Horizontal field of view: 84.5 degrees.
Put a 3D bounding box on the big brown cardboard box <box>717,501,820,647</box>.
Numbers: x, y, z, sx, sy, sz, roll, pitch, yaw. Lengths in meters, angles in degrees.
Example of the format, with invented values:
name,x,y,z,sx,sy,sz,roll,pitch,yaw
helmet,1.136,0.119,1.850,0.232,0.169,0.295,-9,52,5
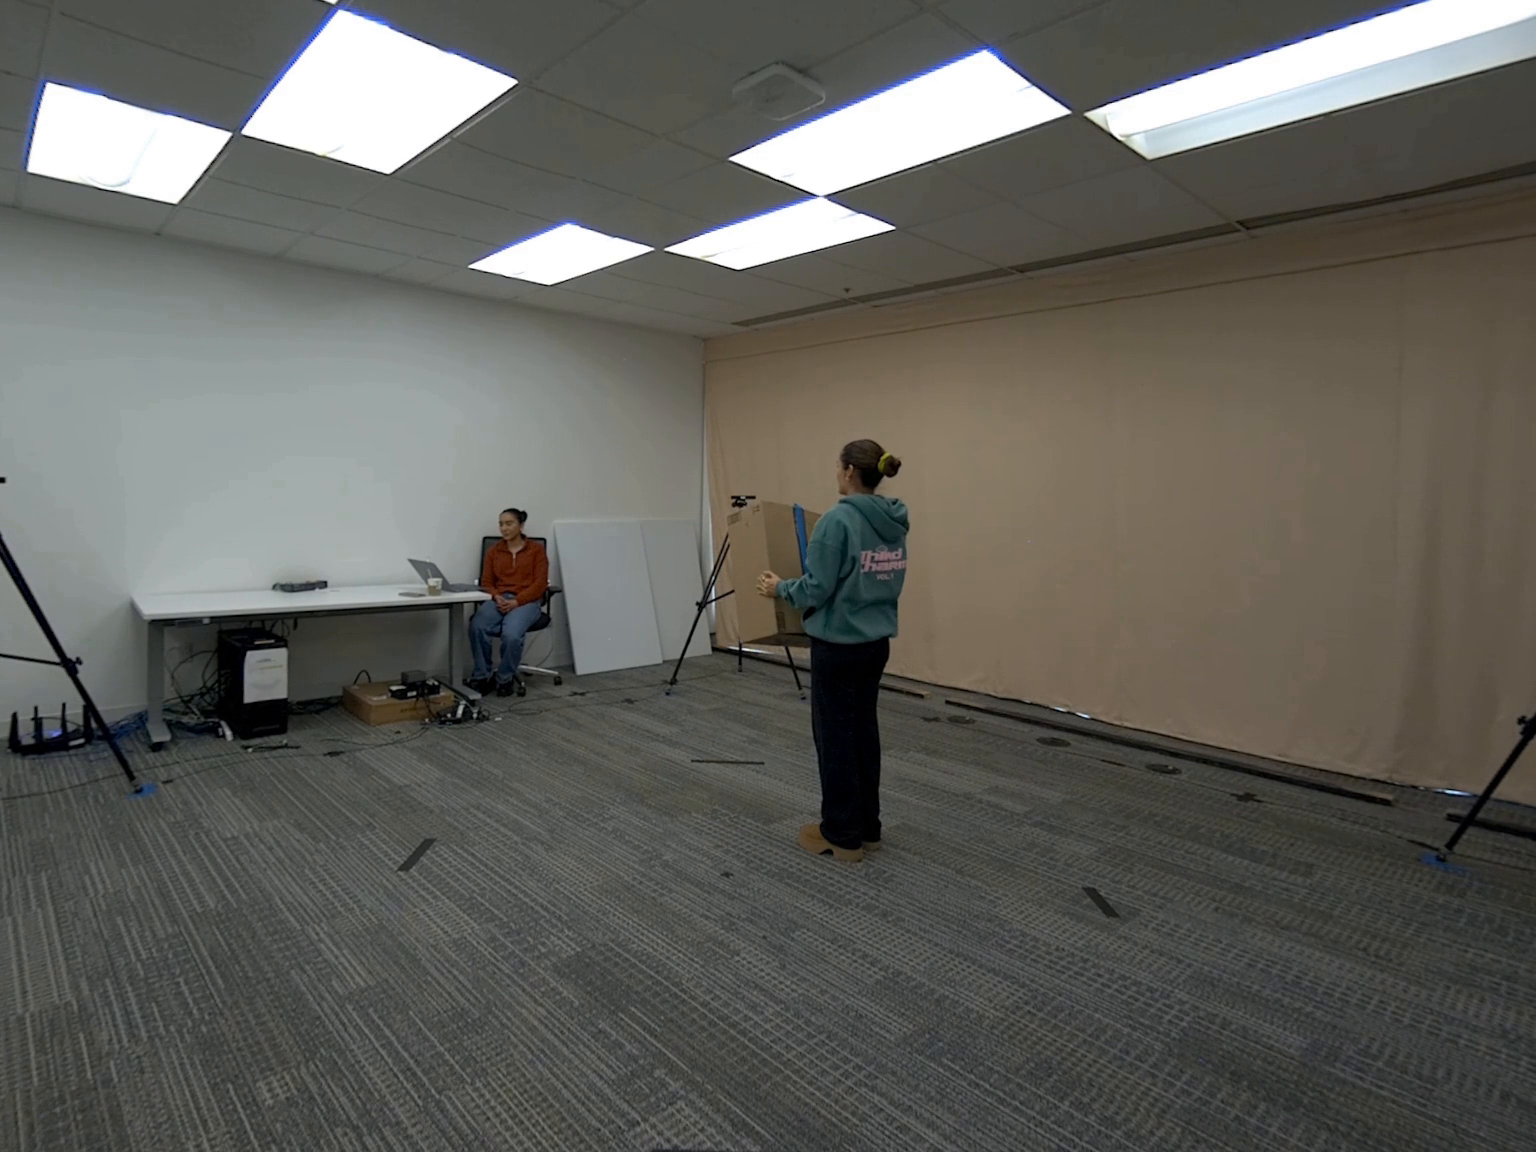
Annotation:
name,x,y,z,sx,sy,sz,roll,pitch,yaw
big brown cardboard box,0.063,-0.005,3.624,0.406,0.596,0.236,8,-21,-44
